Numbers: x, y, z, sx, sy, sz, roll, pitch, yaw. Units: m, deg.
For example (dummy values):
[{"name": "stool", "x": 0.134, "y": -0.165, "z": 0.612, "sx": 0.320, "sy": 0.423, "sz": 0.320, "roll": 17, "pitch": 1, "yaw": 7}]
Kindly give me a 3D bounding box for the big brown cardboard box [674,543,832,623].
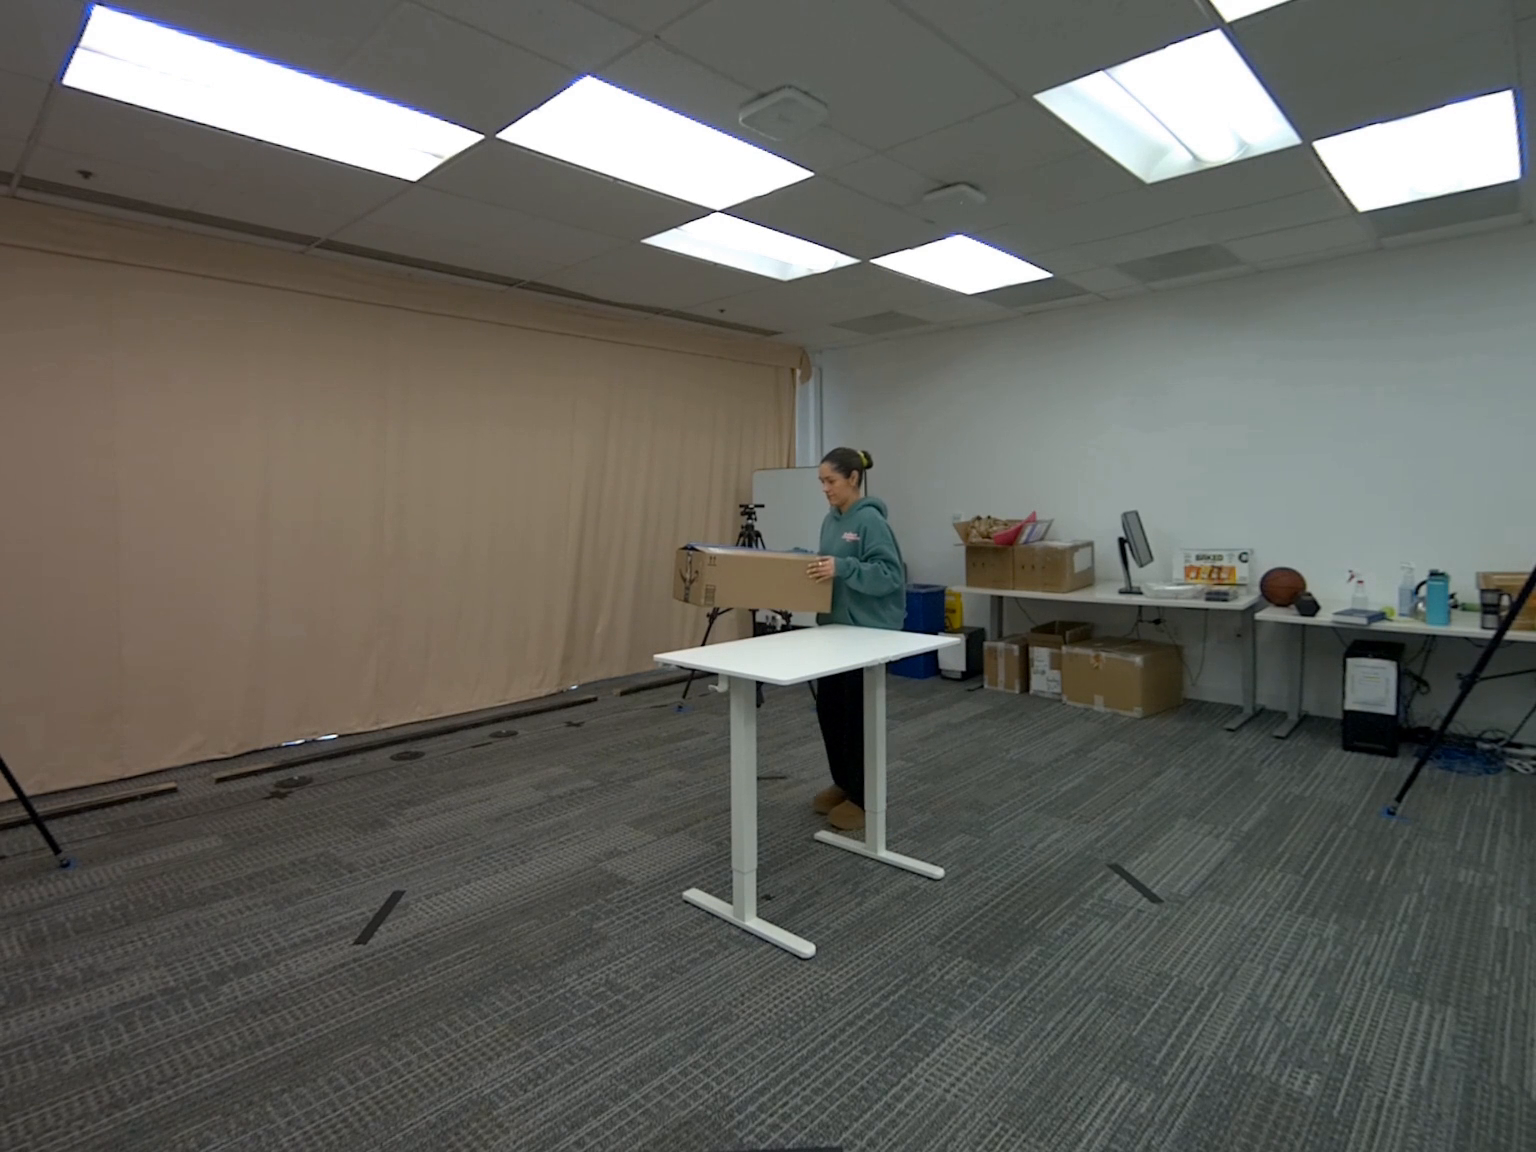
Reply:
[{"name": "big brown cardboard box", "x": -0.078, "y": 0.011, "z": 3.569, "sx": 0.577, "sy": 0.233, "sz": 0.427, "roll": 4, "pitch": 2, "yaw": -20}]
